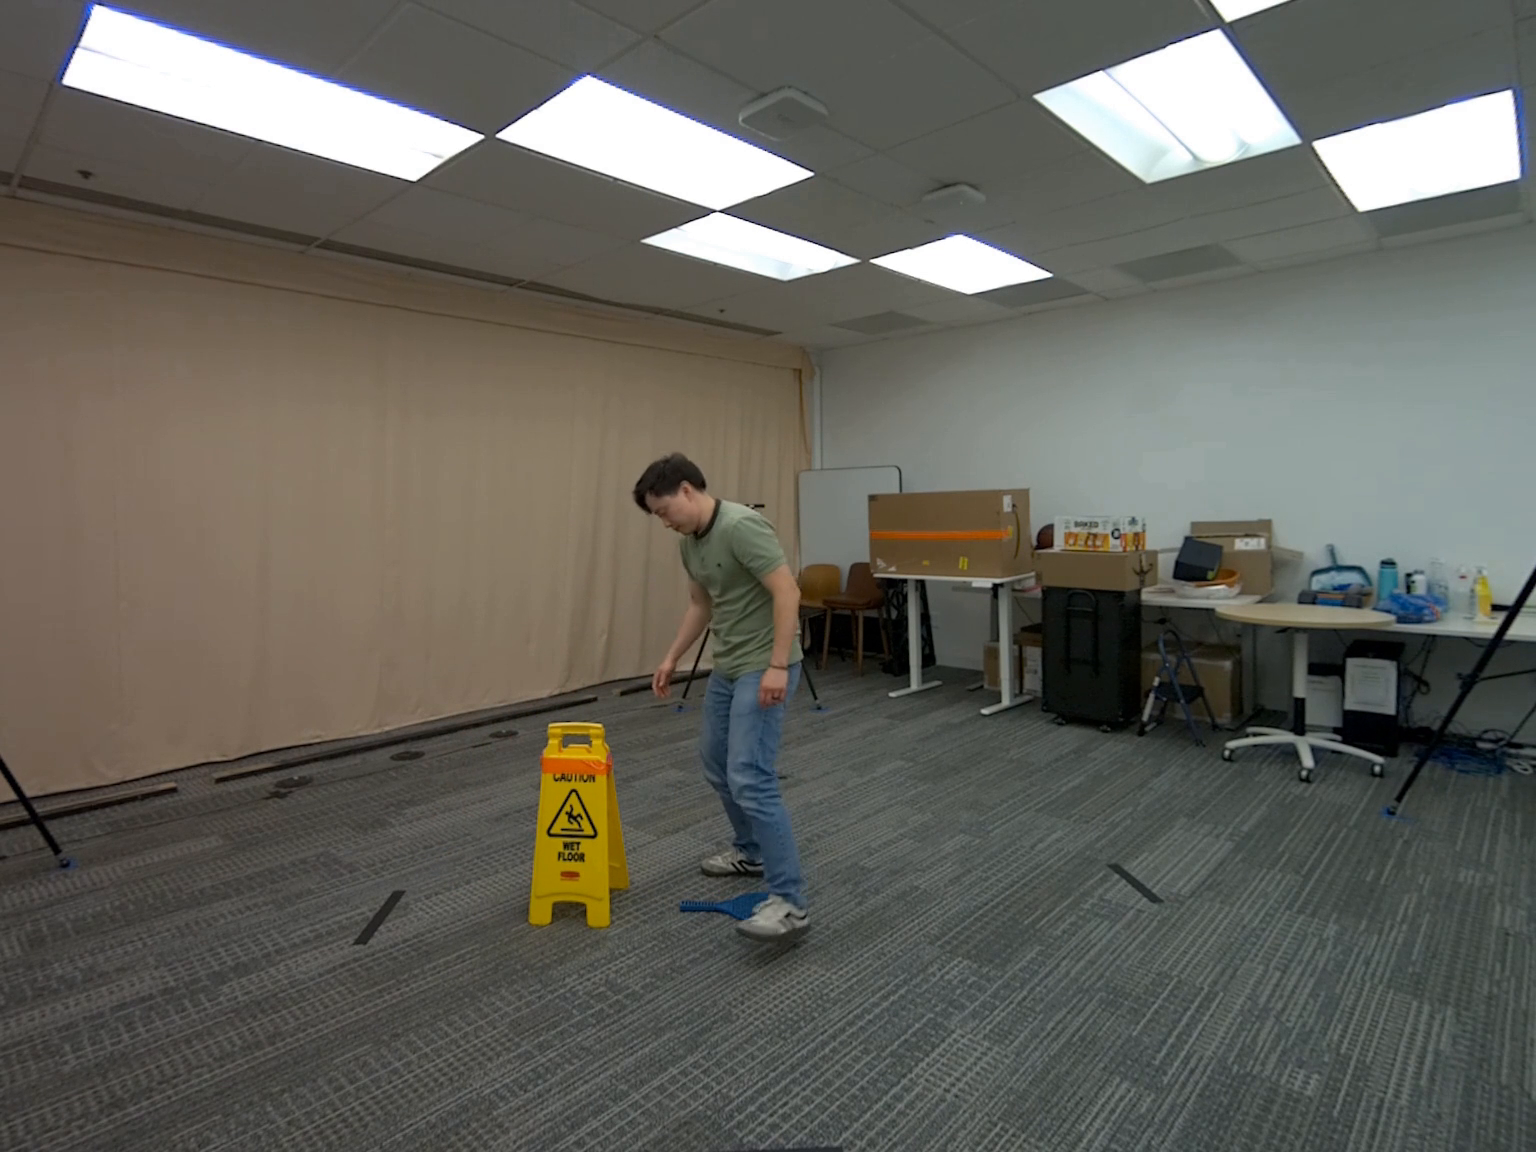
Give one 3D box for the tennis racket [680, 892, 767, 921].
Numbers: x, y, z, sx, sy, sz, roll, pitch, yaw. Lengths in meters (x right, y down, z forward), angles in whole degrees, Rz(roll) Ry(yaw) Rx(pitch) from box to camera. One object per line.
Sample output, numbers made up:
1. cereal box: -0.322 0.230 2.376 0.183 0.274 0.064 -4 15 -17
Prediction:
1. tennis racket: -0.082 1.133 2.892 0.432 0.031 0.214 0 5 -1
